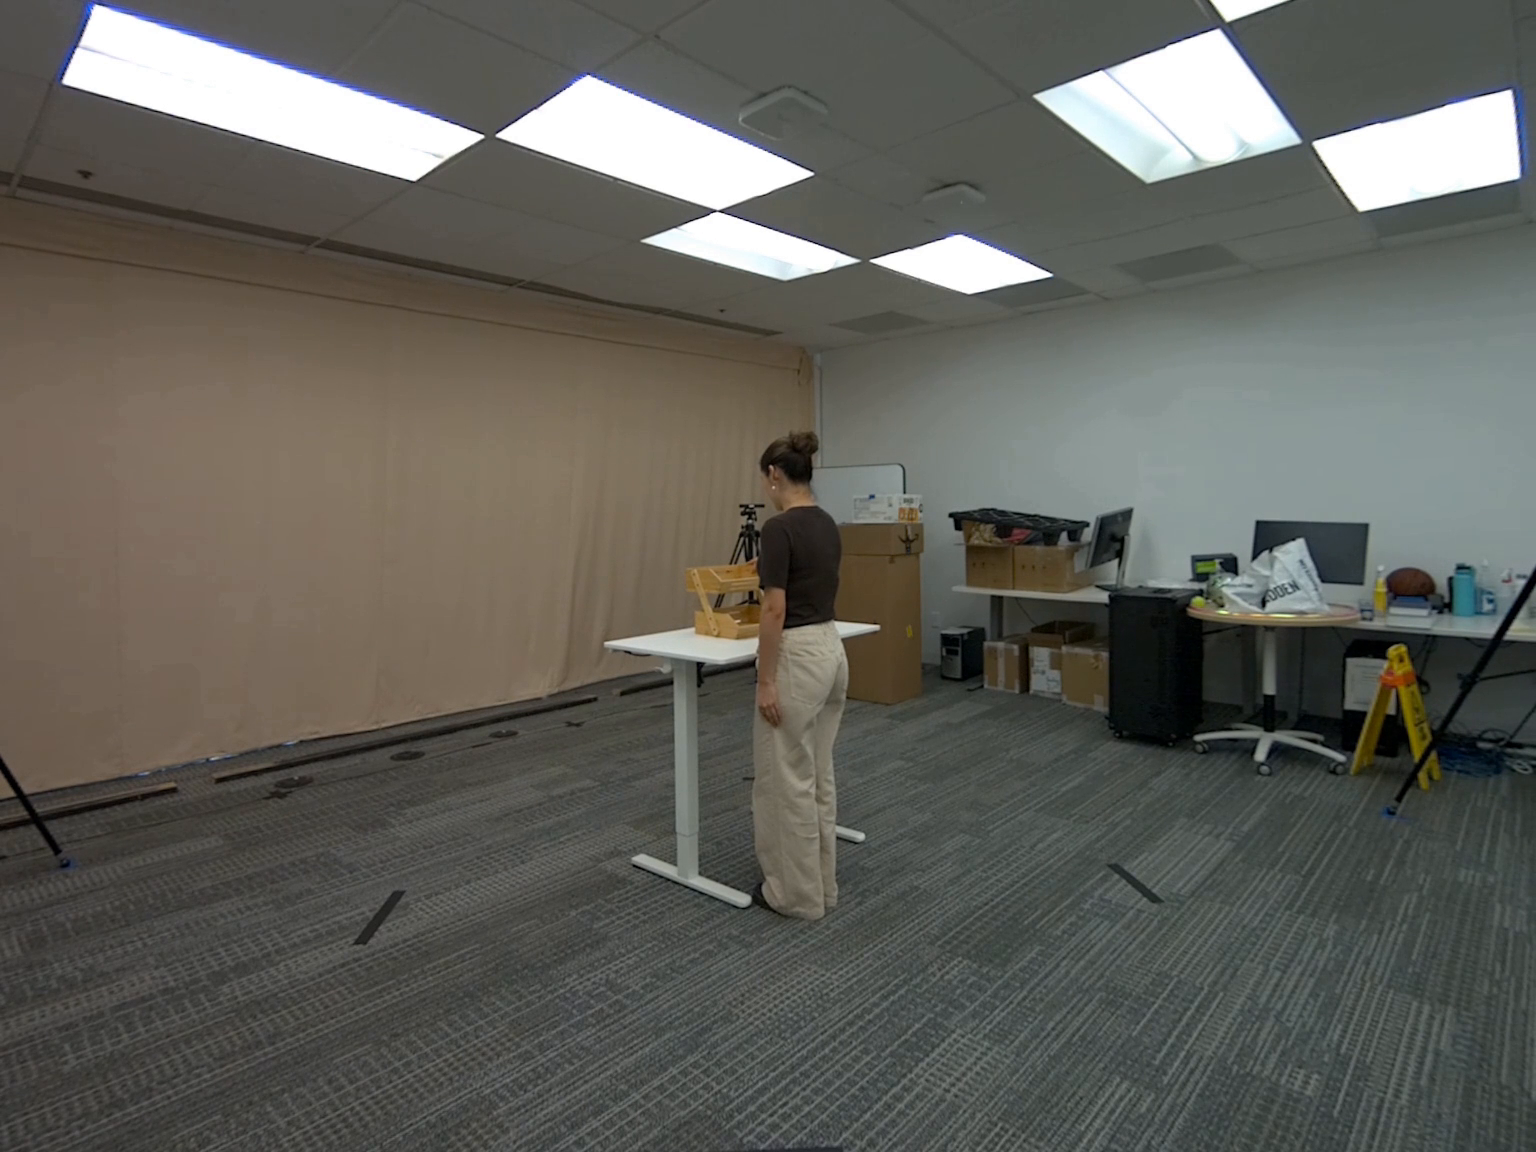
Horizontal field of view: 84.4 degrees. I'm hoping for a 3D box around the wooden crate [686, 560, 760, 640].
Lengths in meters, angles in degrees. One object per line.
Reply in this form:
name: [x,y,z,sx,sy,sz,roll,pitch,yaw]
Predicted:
wooden crate: [-0.116,0.093,3.376,0.314,0.273,0.312,-4,4,-45]
